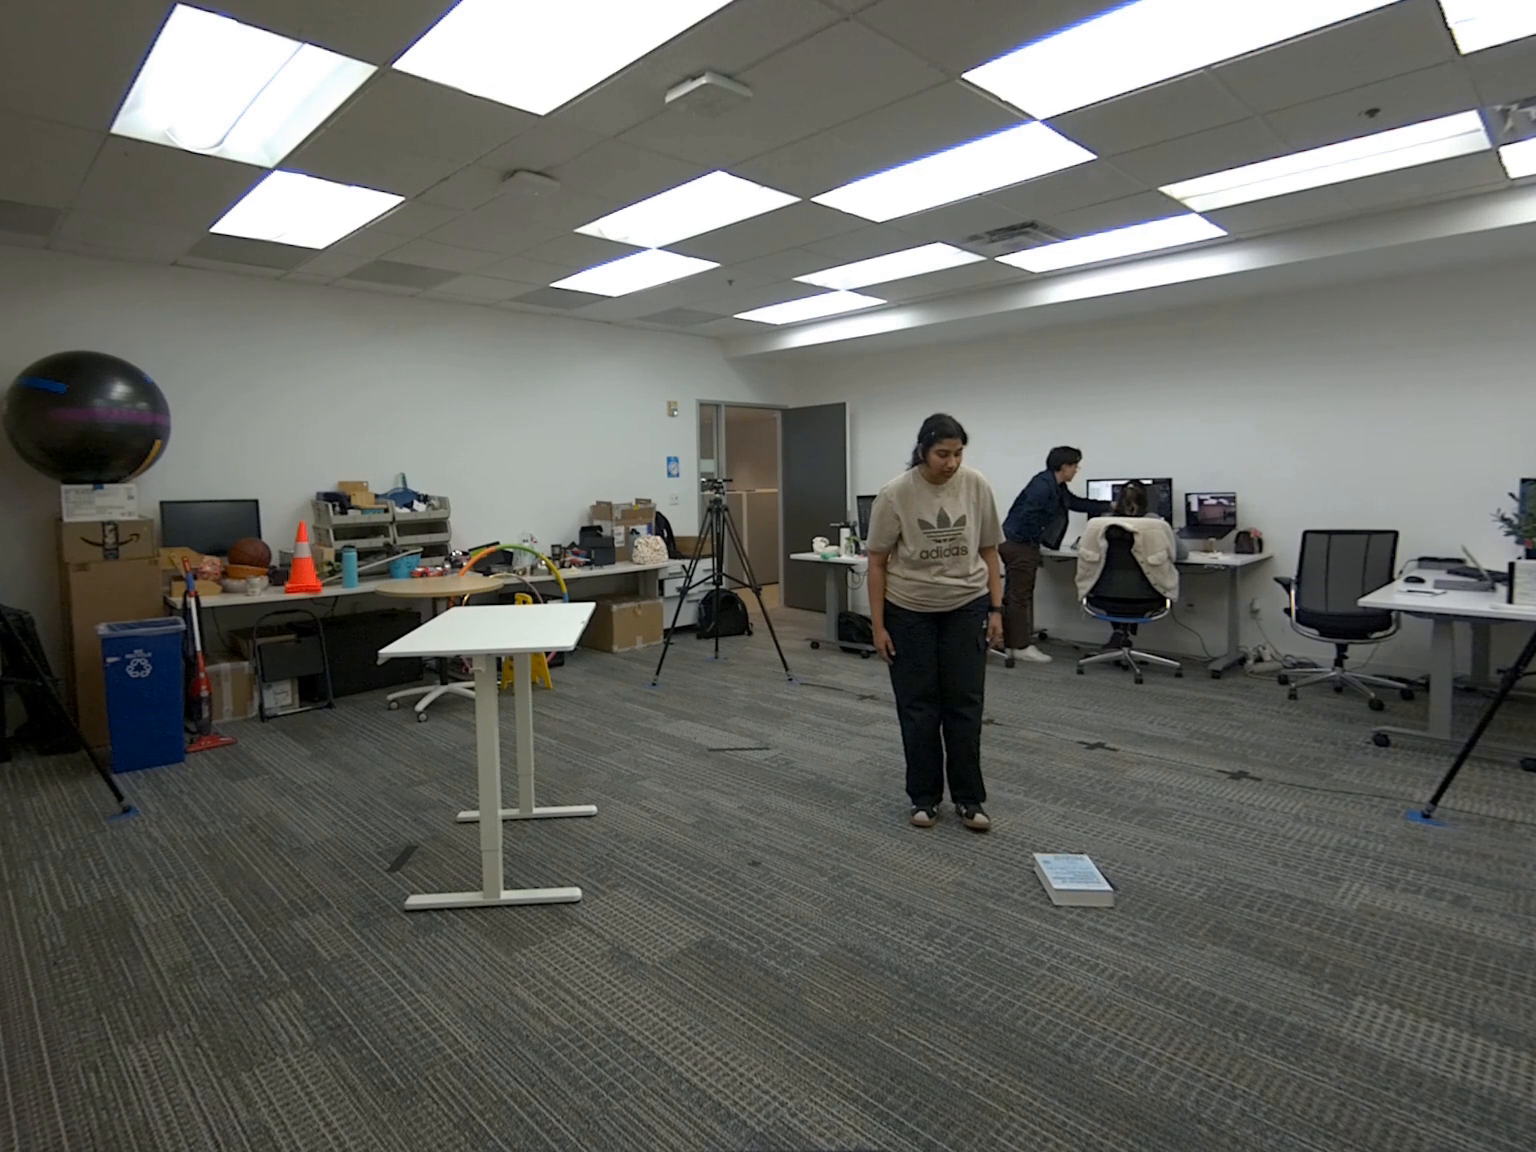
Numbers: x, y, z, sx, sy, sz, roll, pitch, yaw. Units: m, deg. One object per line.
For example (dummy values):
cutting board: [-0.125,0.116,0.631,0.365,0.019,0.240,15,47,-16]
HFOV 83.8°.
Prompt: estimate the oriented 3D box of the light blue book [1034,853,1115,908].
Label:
light blue book: [1.013,1.020,2.880,0.192,0.059,0.261,-1,6,3]
